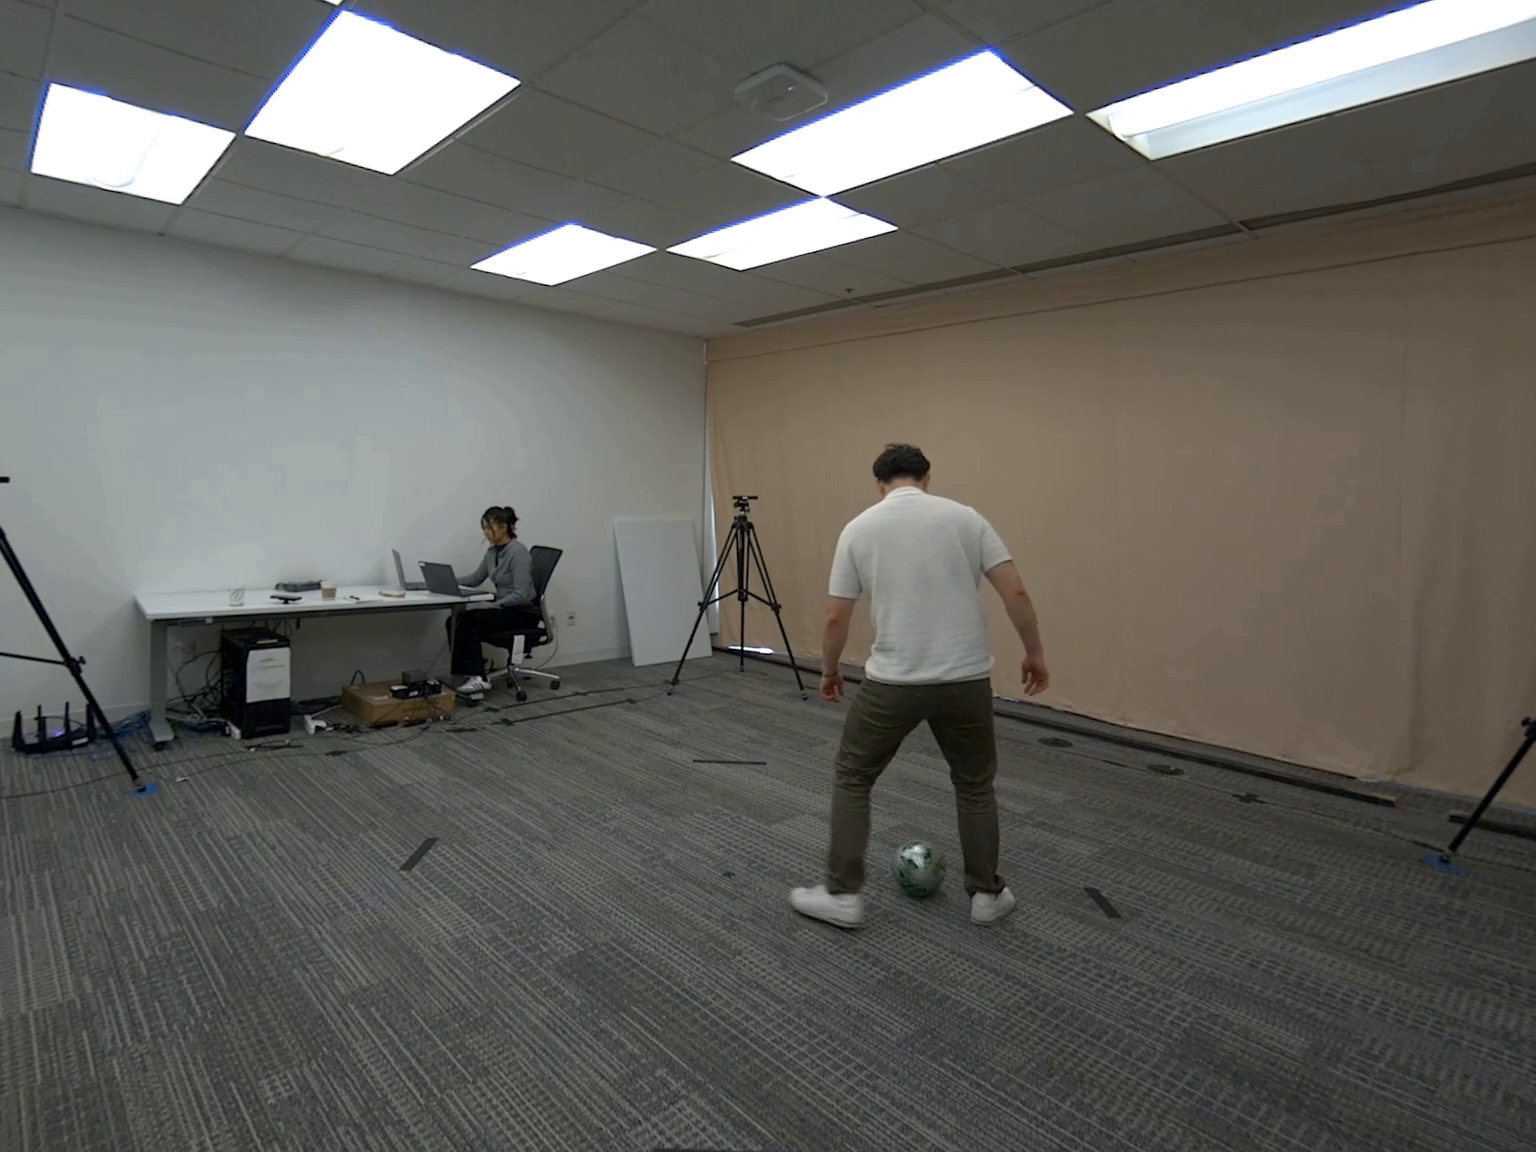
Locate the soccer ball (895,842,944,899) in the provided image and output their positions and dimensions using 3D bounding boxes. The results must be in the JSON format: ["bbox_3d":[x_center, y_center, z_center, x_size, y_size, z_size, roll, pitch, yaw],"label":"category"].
[{"bbox_3d":[0.523,1.034,2.989,0.187,0.187,0.188,1,4,-1],"label":"soccer ball"}]
